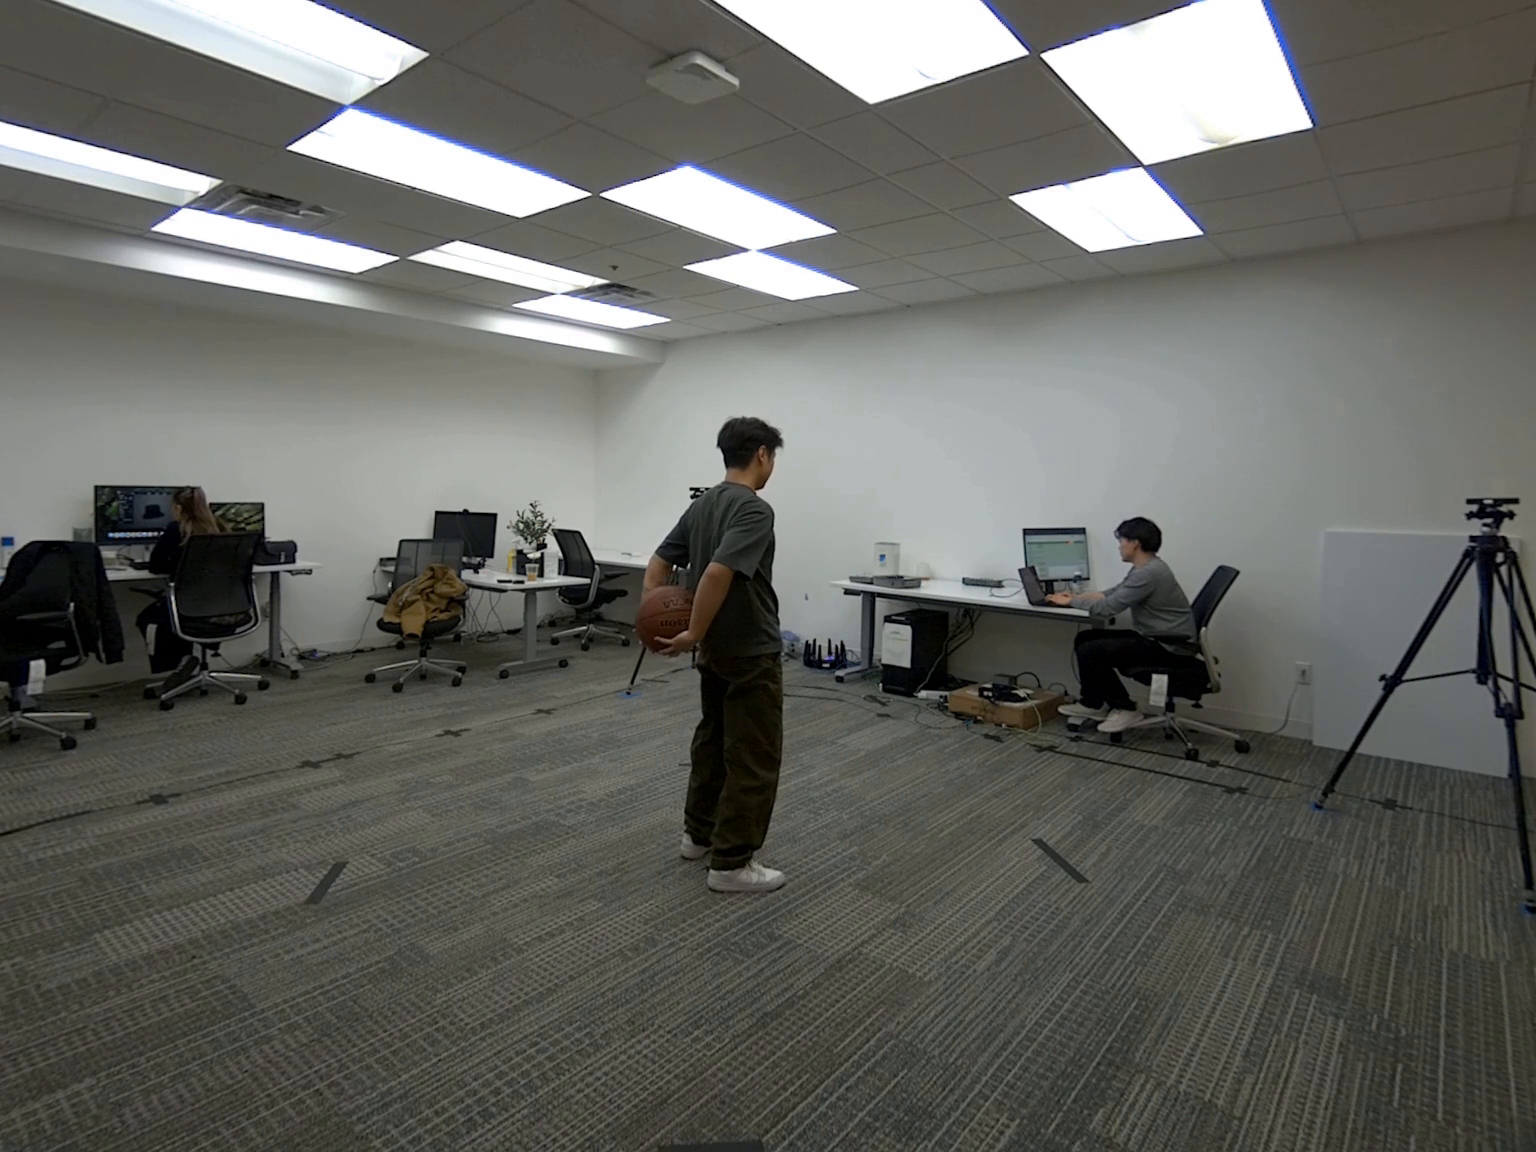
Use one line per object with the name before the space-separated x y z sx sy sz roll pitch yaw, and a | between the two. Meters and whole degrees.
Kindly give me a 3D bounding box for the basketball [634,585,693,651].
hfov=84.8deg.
basketball | -0.342 0.138 2.961 0.235 0.235 0.237 1 4 -2
